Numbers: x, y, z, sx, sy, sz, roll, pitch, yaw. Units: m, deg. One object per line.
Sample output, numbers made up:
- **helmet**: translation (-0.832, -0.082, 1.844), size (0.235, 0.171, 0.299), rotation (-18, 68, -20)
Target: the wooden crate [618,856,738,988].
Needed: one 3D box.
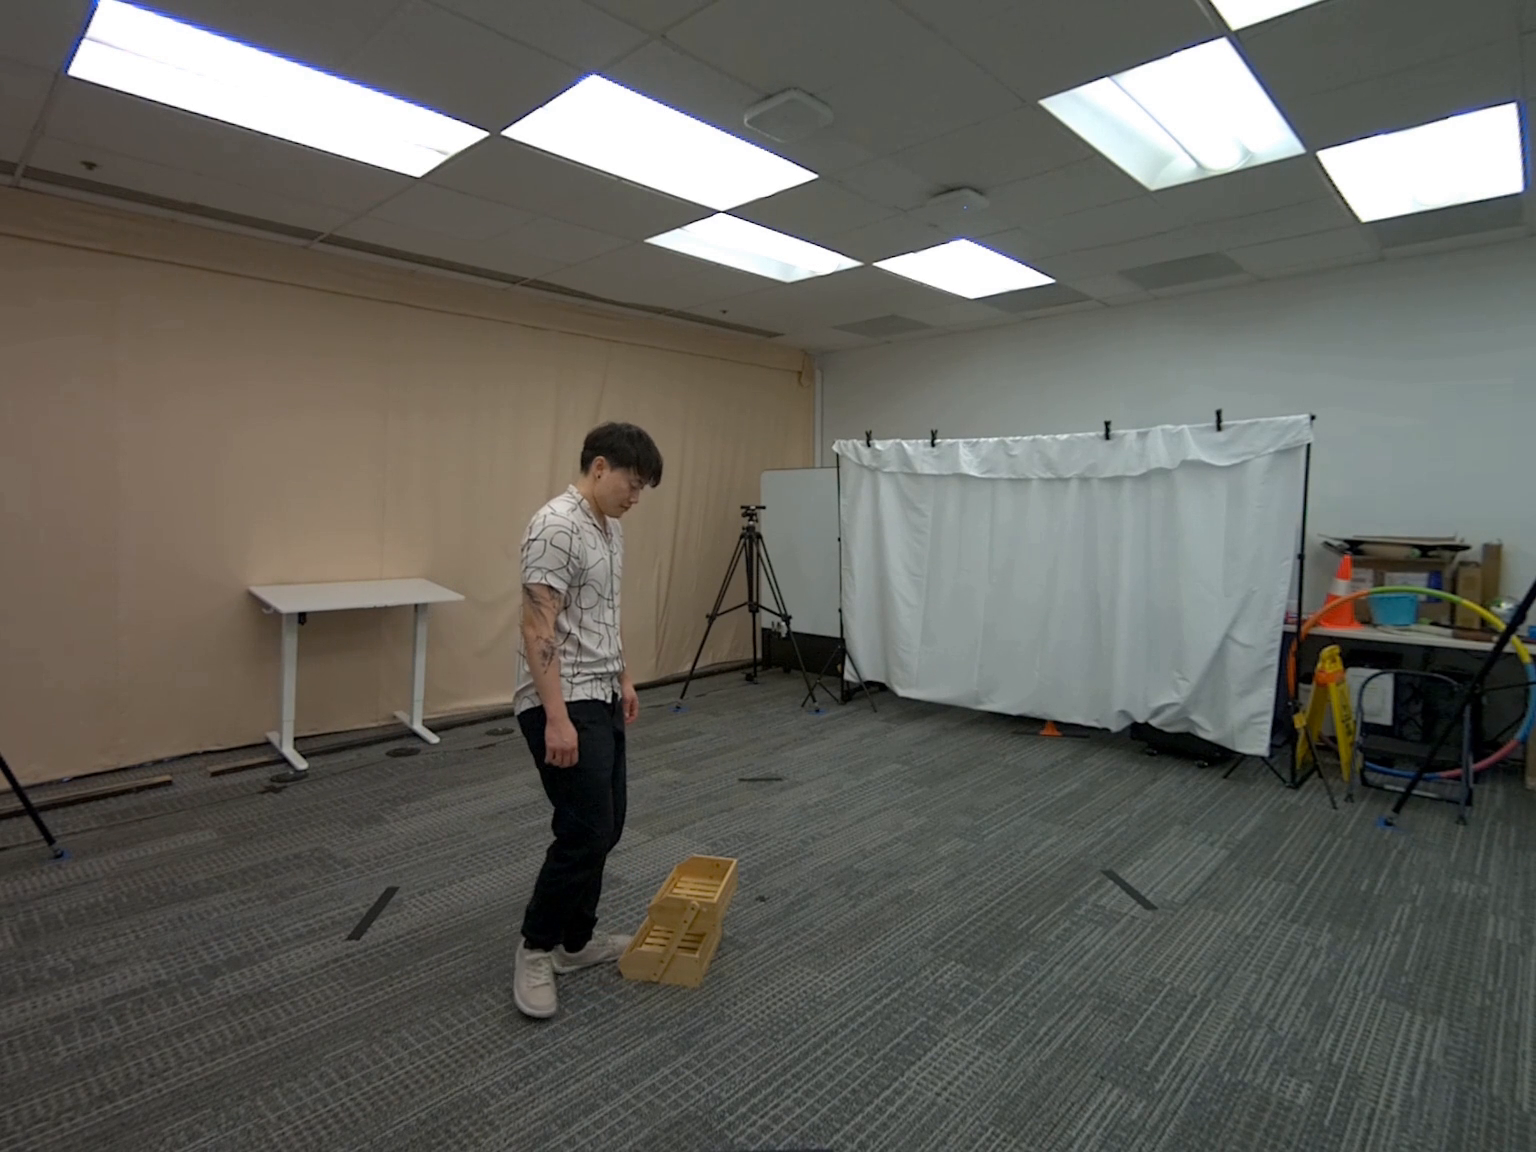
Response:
- **wooden crate**: translation (-0.274, 1.045, 2.591), size (0.306, 0.273, 0.320), rotation (1, 4, 12)
